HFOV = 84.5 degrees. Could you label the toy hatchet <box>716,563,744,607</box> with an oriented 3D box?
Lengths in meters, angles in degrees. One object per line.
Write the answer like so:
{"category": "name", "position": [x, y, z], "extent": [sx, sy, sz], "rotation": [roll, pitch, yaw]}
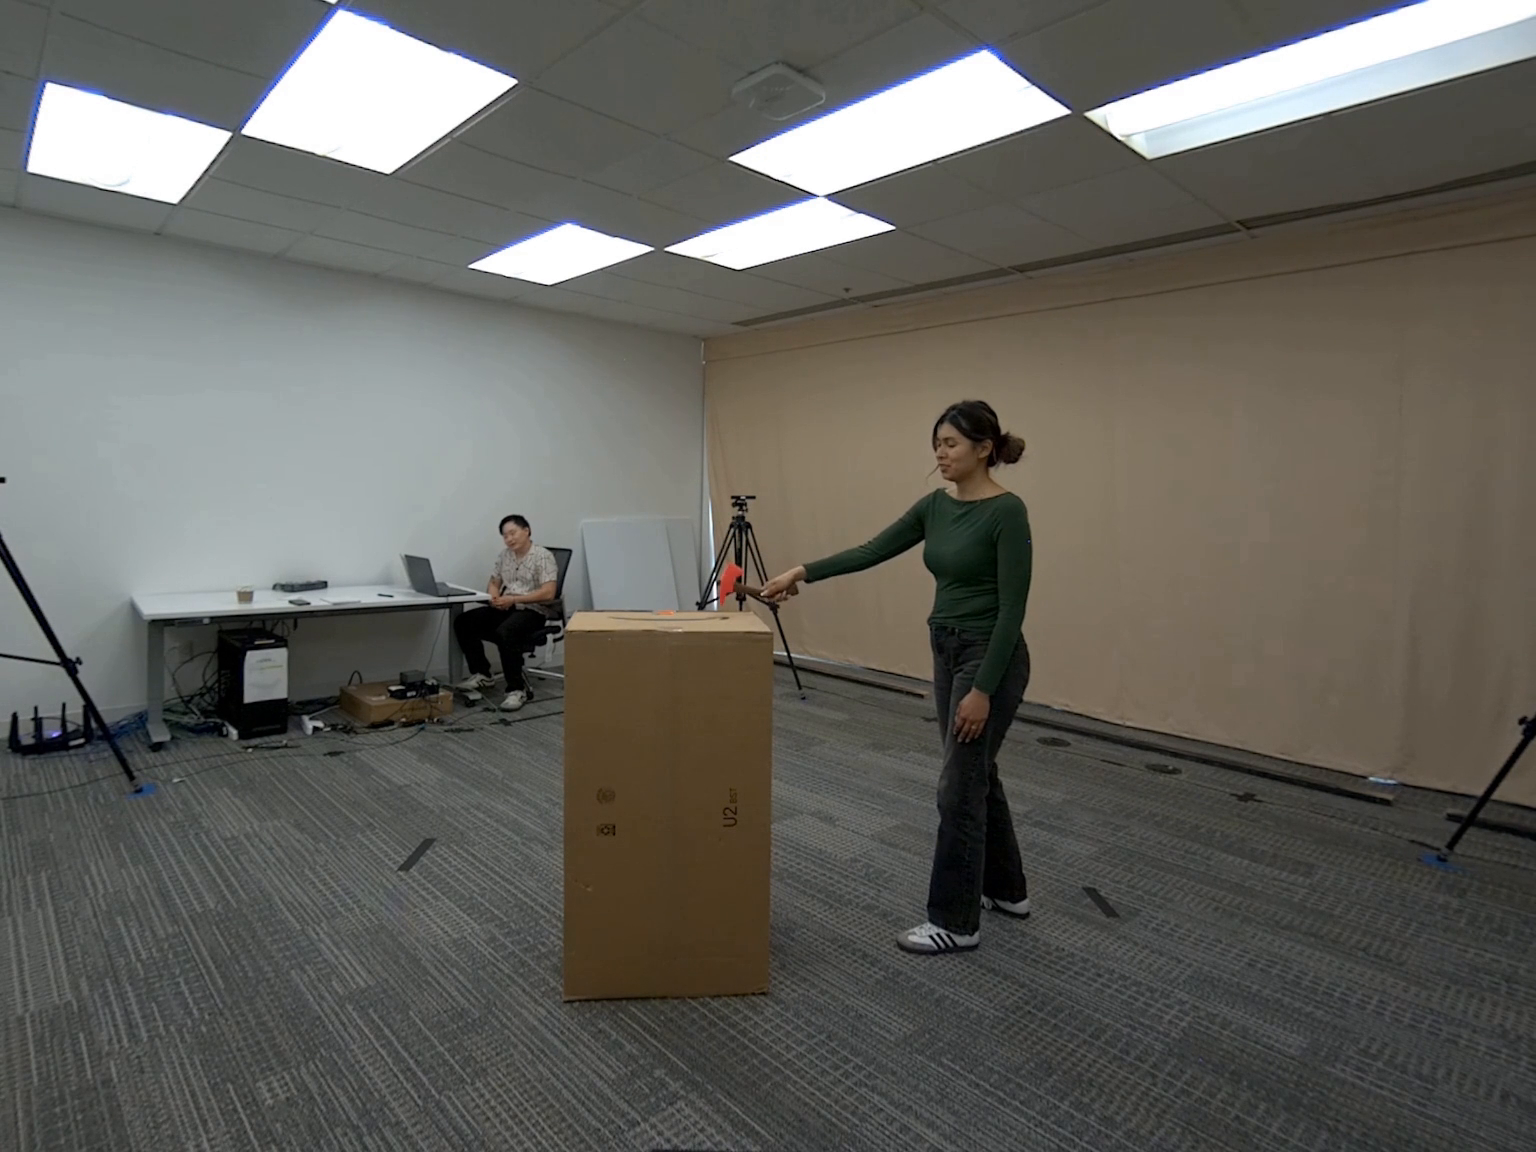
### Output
{"category": "toy hatchet", "position": [-0.035, -0.008, 2.690], "extent": [0.268, 0.132, 0.029], "rotation": [-5, -10, -9]}
